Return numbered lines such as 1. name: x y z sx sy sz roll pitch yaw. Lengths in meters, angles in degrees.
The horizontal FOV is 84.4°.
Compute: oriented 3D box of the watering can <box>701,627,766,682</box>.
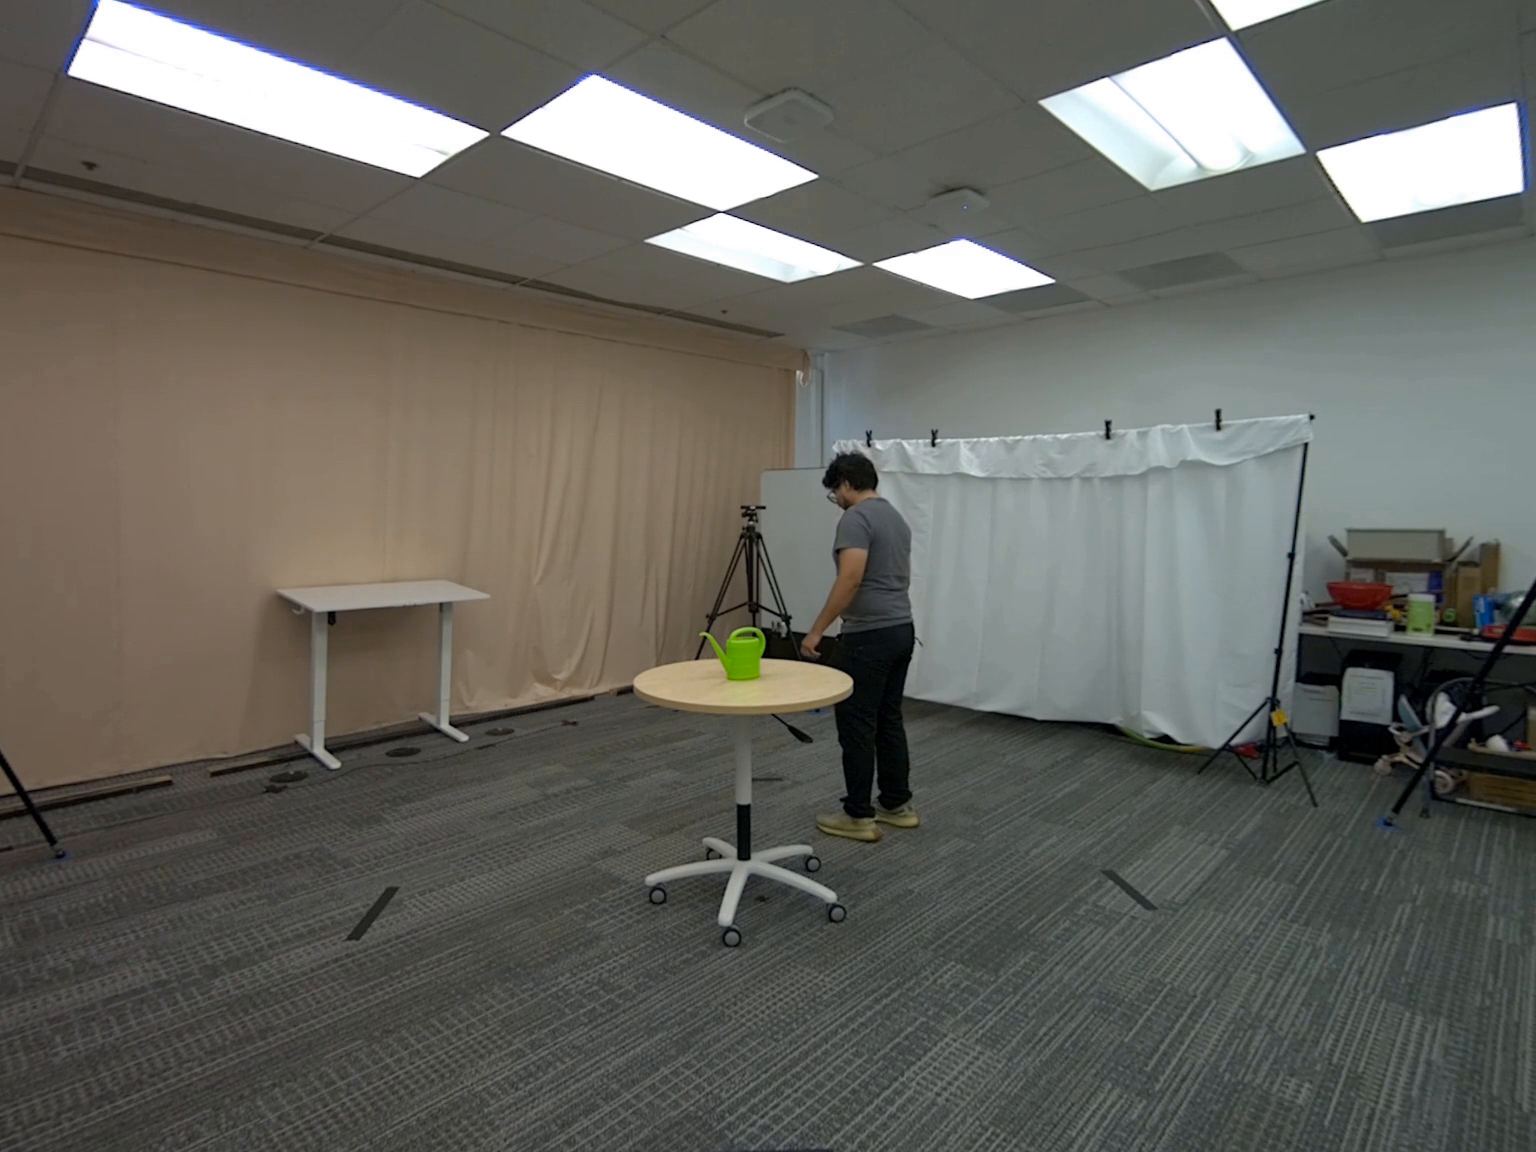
1. watering can: -0.123 0.275 2.961 0.272 0.176 0.100 -1 3 -23
